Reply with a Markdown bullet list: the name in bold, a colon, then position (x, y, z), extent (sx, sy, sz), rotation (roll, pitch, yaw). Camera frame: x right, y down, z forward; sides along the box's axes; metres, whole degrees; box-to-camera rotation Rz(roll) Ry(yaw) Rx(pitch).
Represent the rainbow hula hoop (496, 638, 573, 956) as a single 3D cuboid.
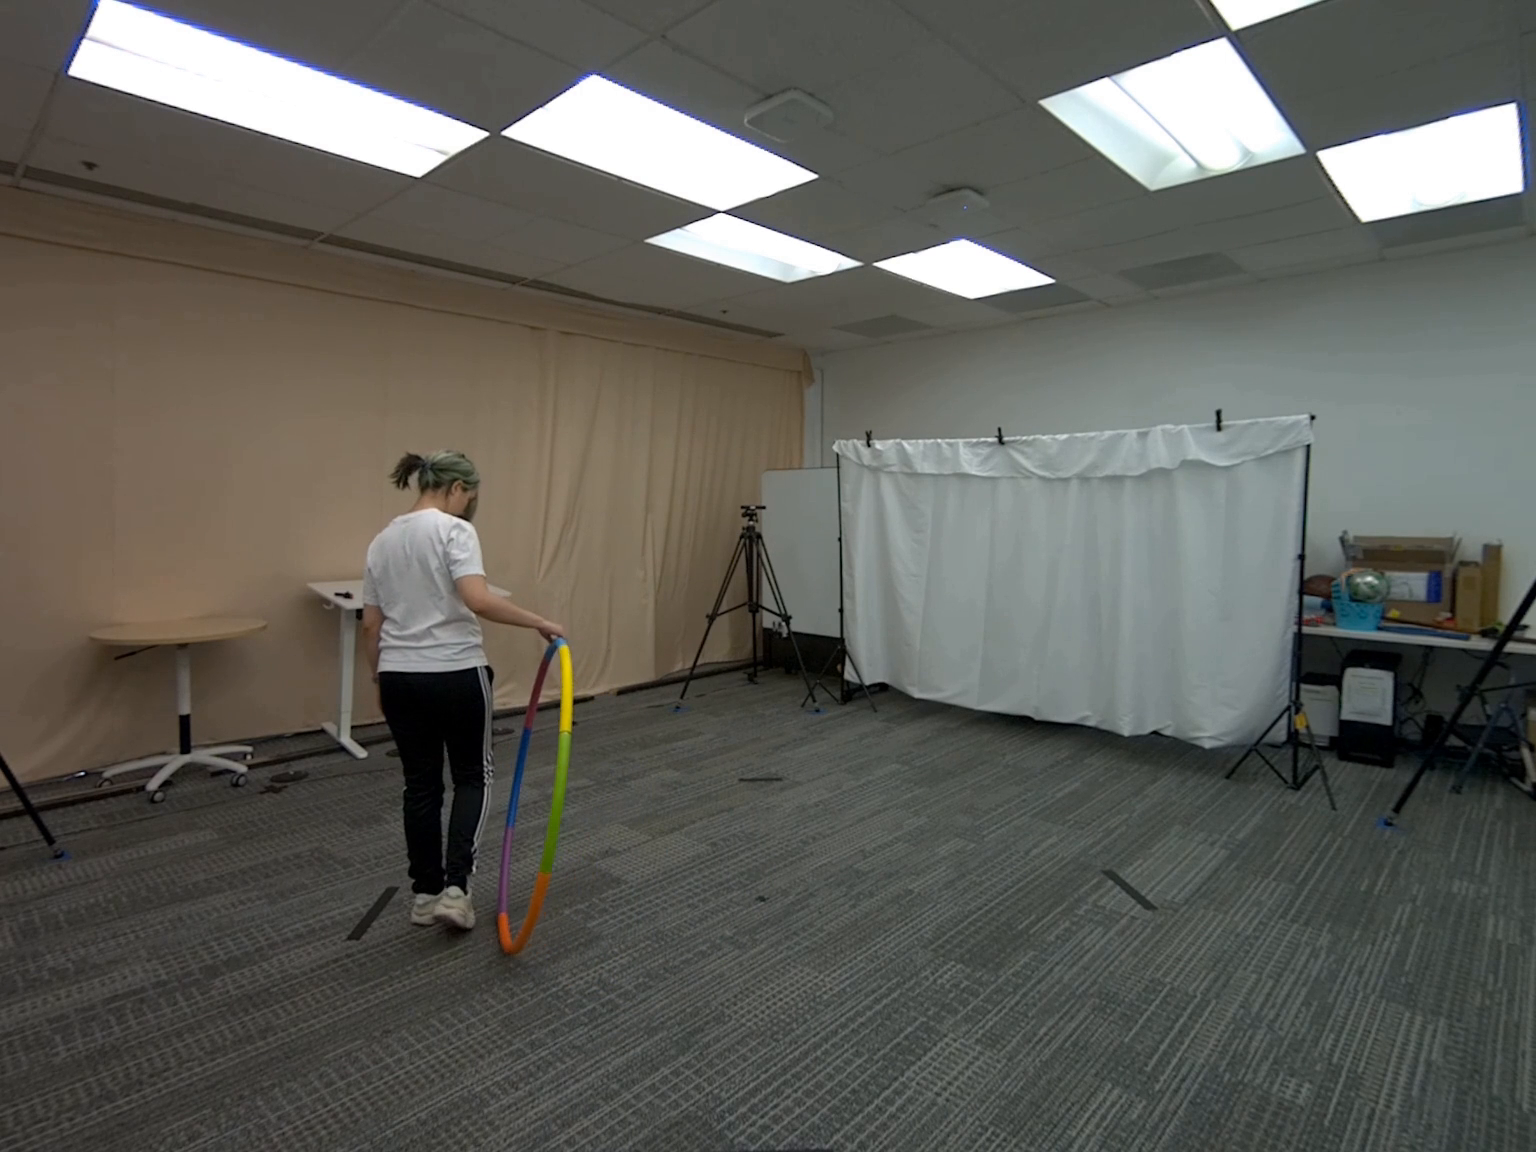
- **rainbow hula hoop**: position (-0.762, 0.690, 2.749), extent (0.035, 0.979, 1.000), rotation (13, -1, -21)
